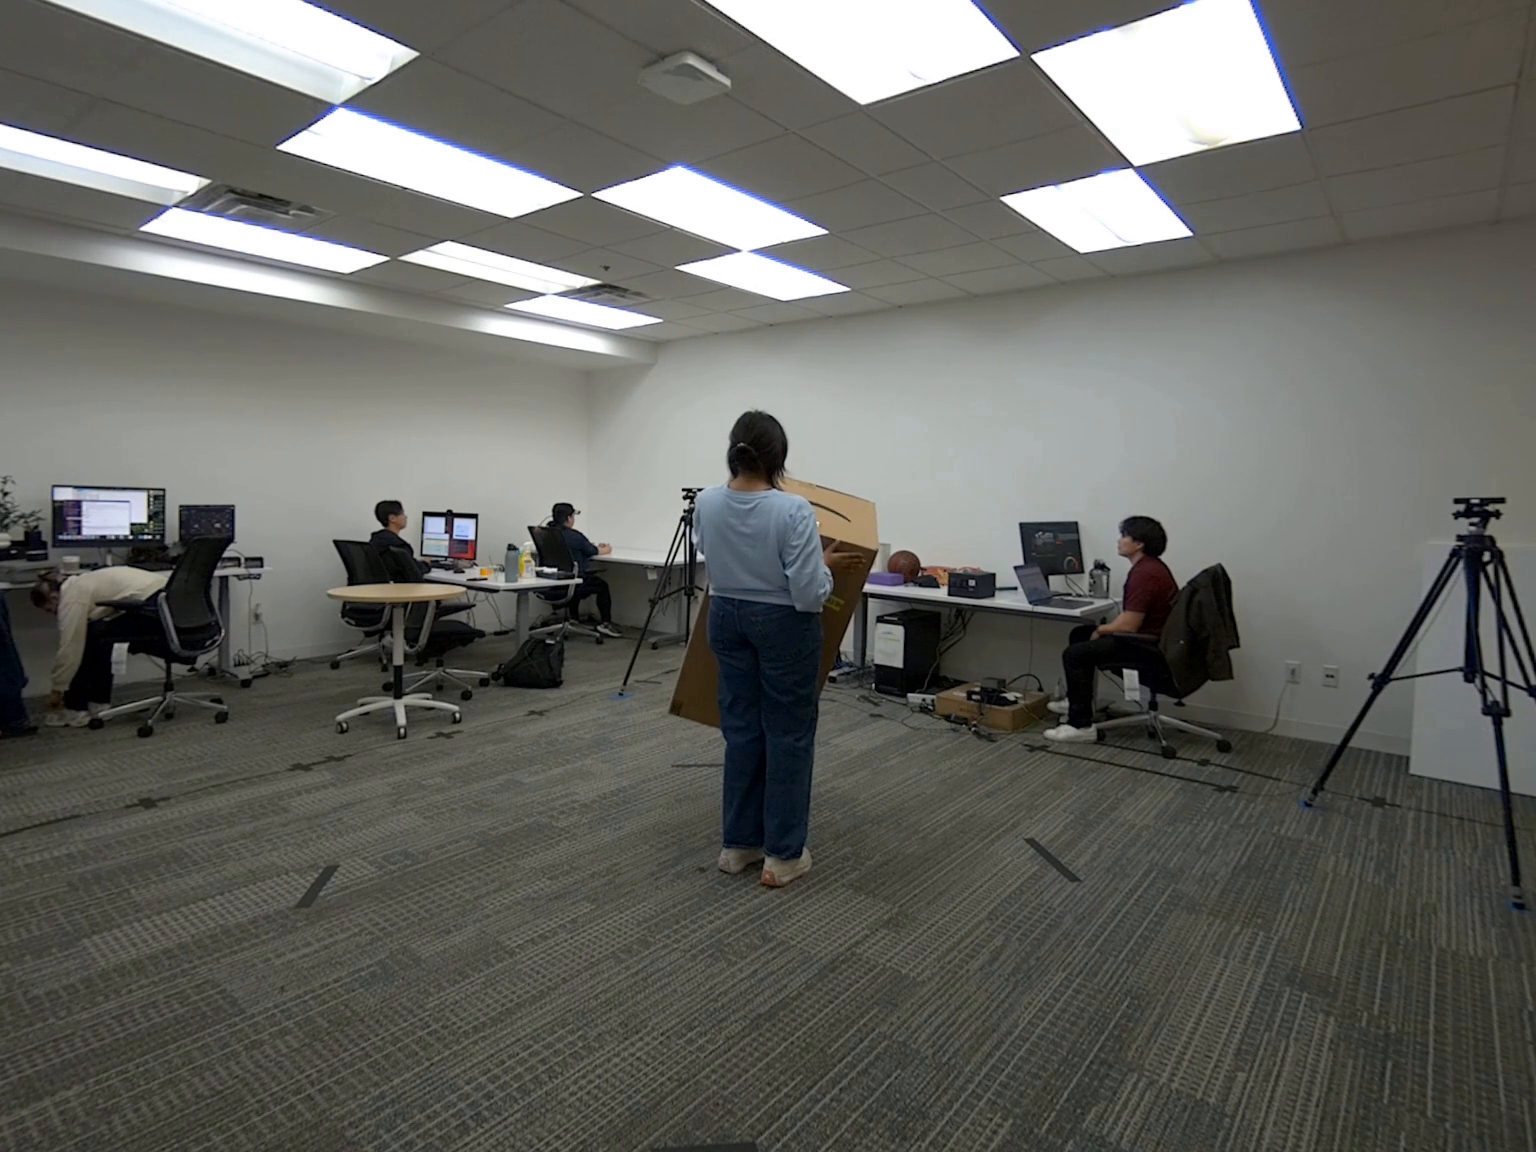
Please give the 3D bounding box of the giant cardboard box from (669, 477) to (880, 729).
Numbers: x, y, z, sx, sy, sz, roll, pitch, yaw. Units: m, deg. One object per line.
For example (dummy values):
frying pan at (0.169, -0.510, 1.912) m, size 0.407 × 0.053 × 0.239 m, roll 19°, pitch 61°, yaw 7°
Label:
giant cardboard box at (-0.002, 0.140, 3.555) m, size 0.583 × 1.012 × 0.454 m, roll 18°, pitch 29°, yaw -2°
